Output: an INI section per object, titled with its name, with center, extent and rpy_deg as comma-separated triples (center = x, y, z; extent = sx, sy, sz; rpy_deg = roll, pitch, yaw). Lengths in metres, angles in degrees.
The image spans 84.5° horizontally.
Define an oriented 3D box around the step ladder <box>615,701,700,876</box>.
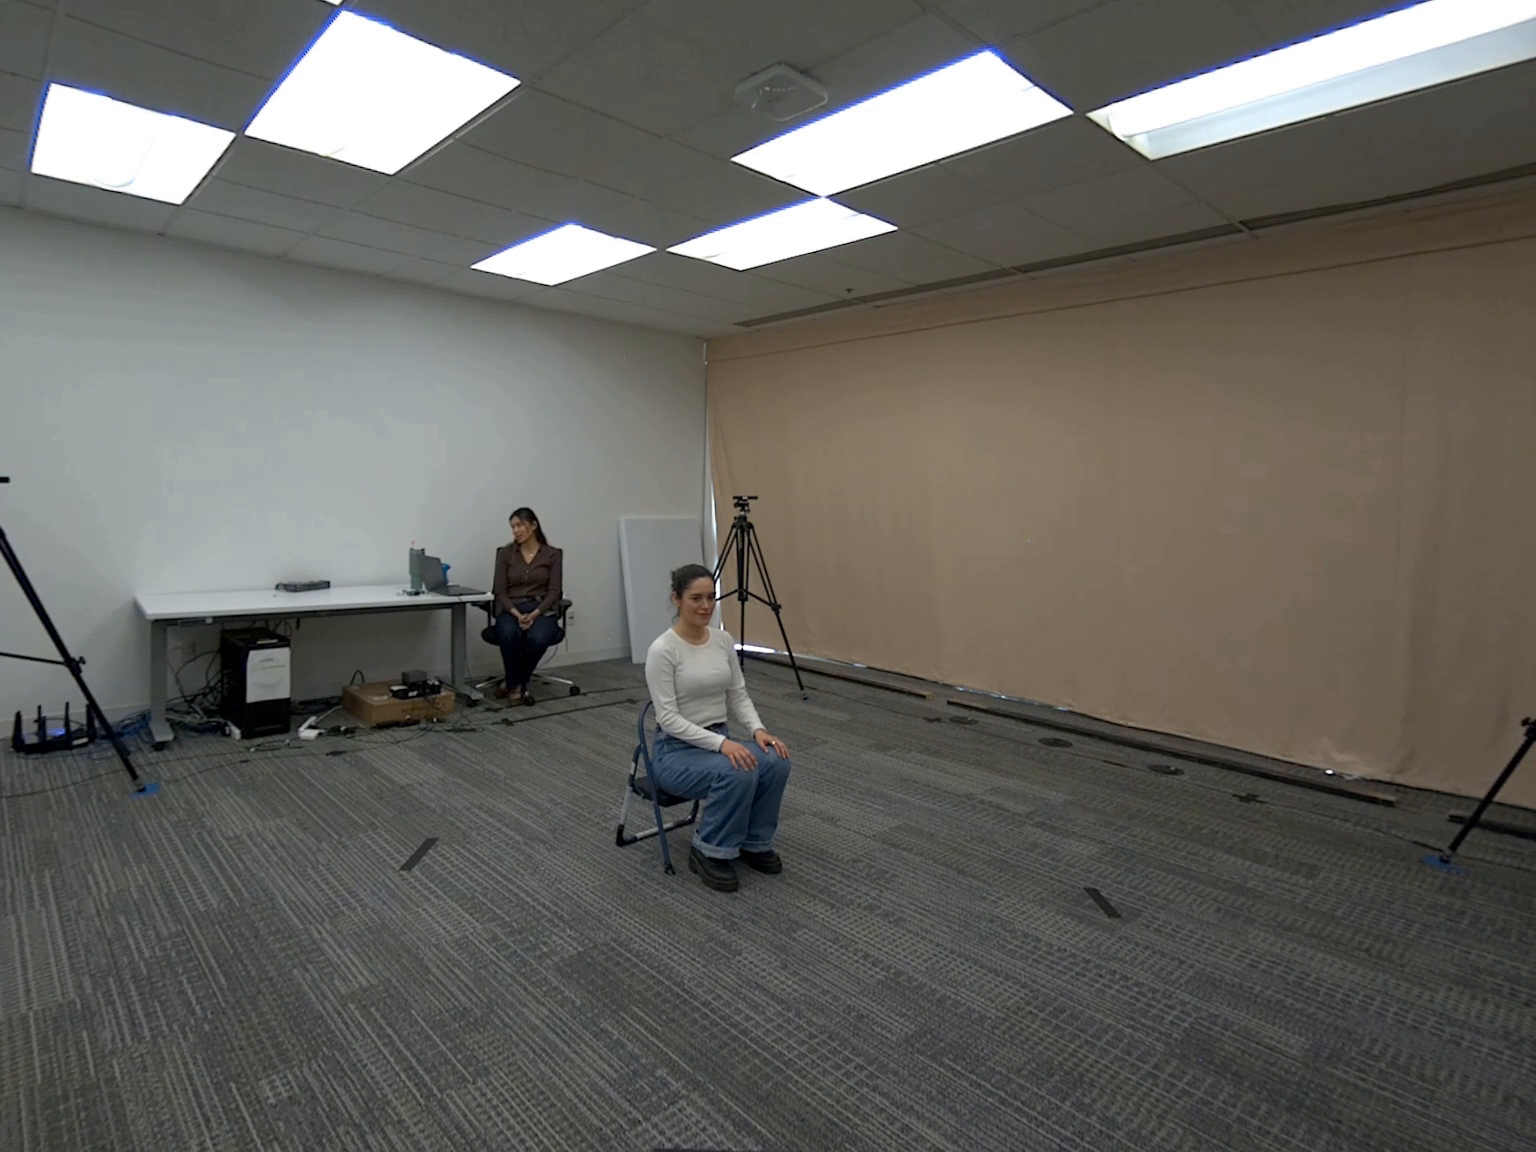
[step ladder]
center = -0.341, 0.772, 3.348
extent = 0.358, 0.605, 0.421
rpy_deg = 5, 4, 44
